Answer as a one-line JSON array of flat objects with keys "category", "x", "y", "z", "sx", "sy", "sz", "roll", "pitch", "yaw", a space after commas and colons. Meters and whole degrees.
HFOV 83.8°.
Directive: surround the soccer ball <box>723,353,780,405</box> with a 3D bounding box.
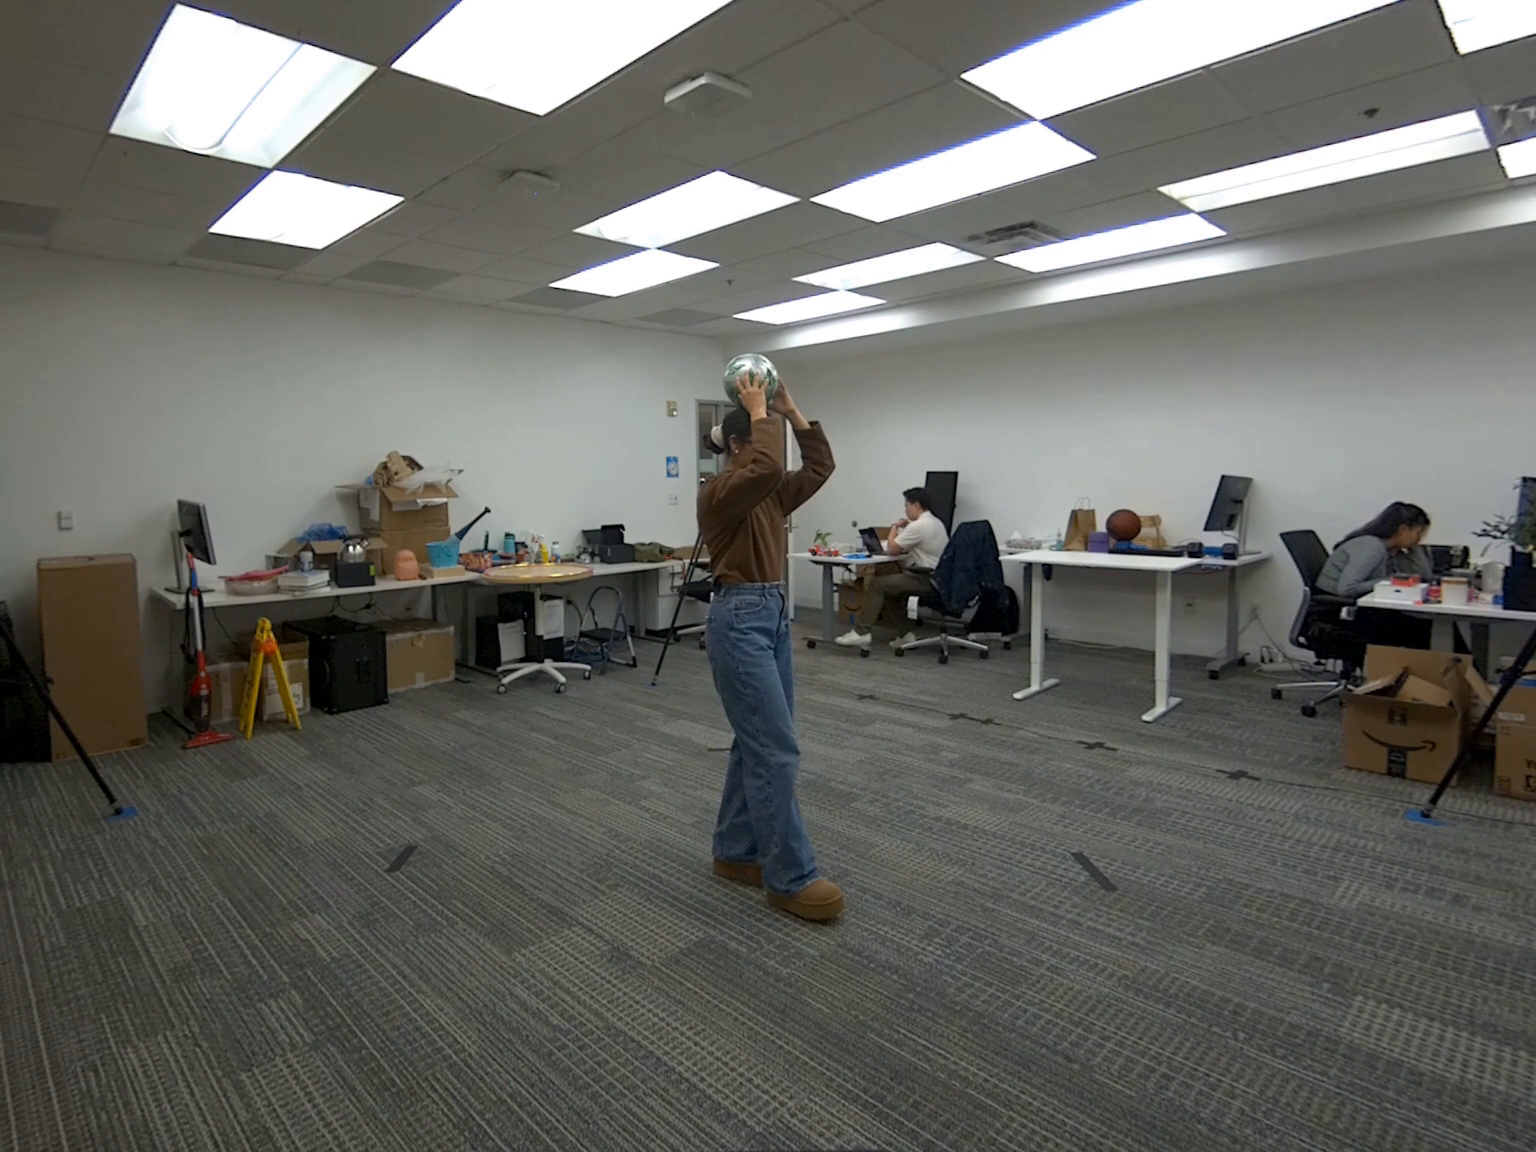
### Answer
[{"category": "soccer ball", "x": -0.055, "y": -0.664, "z": 2.915, "sx": 0.187, "sy": 0.187, "sz": 0.188, "roll": -1, "pitch": 5, "yaw": -2}]
